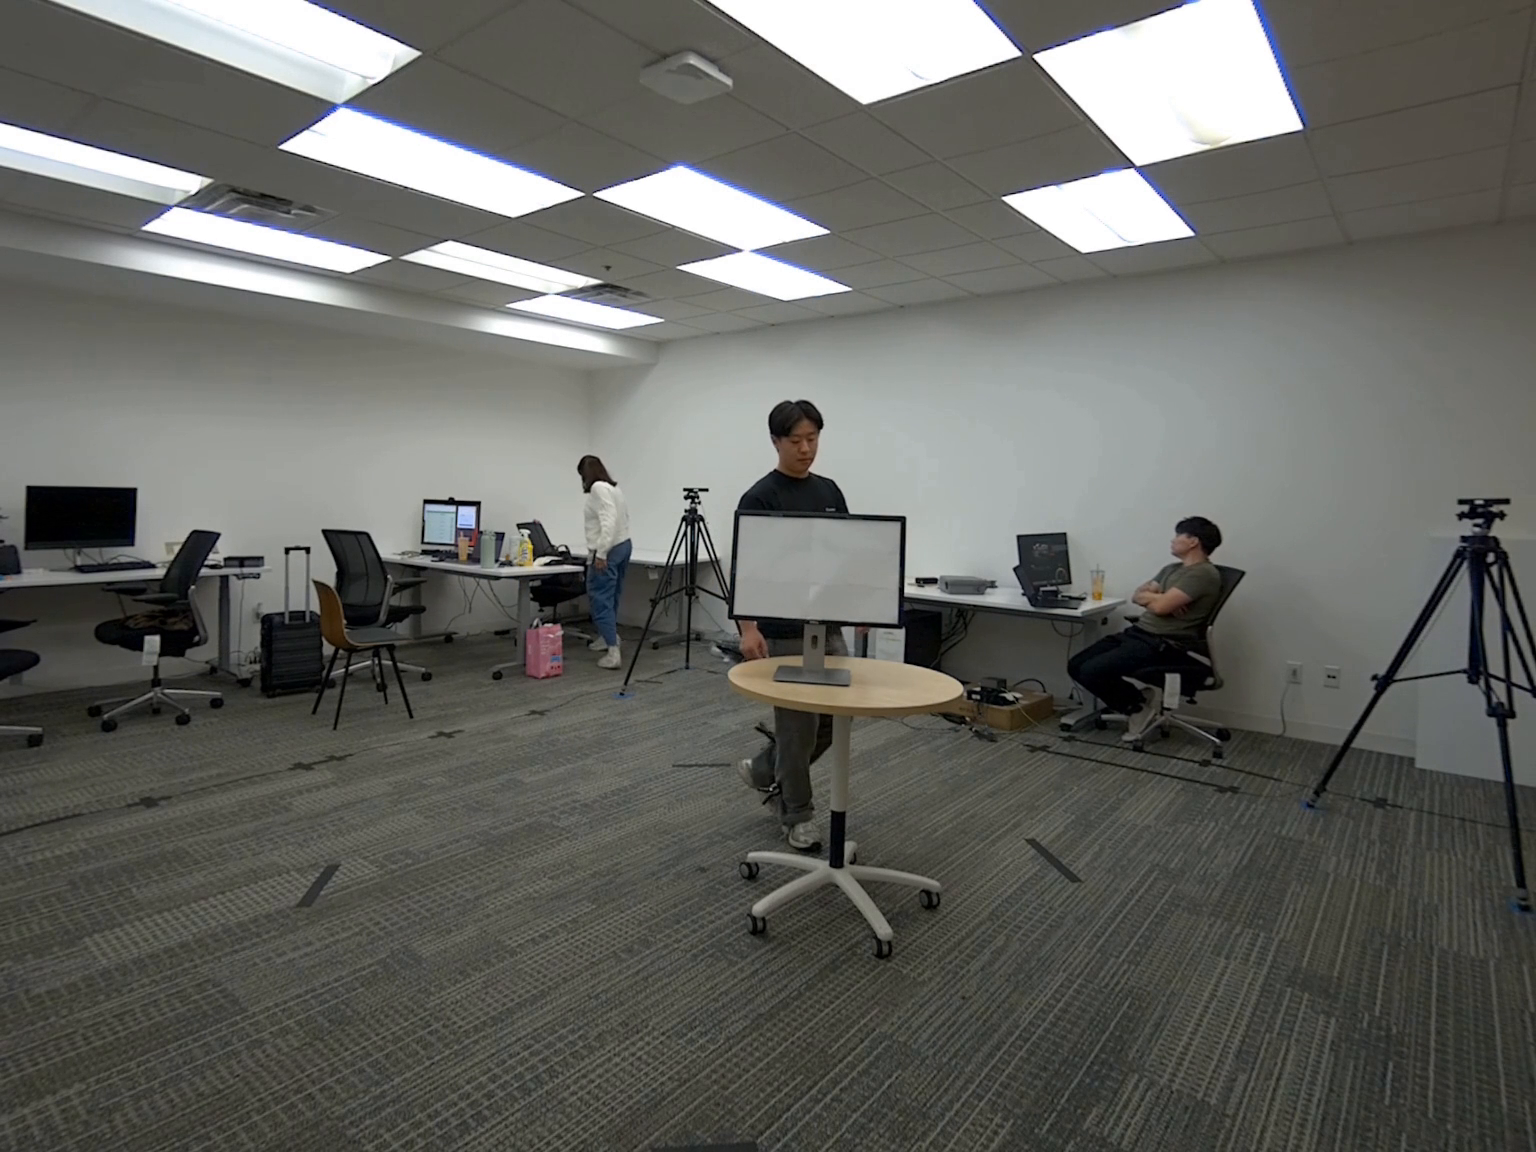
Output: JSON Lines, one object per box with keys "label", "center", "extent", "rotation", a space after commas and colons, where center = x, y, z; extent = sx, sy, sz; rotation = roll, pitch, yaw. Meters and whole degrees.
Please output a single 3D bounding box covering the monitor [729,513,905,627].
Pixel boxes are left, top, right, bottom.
{"label": "monitor", "center": [0.159, 0.071, 2.785], "extent": [0.568, 0.563, 0.221], "rotation": [3, 5, 10]}
